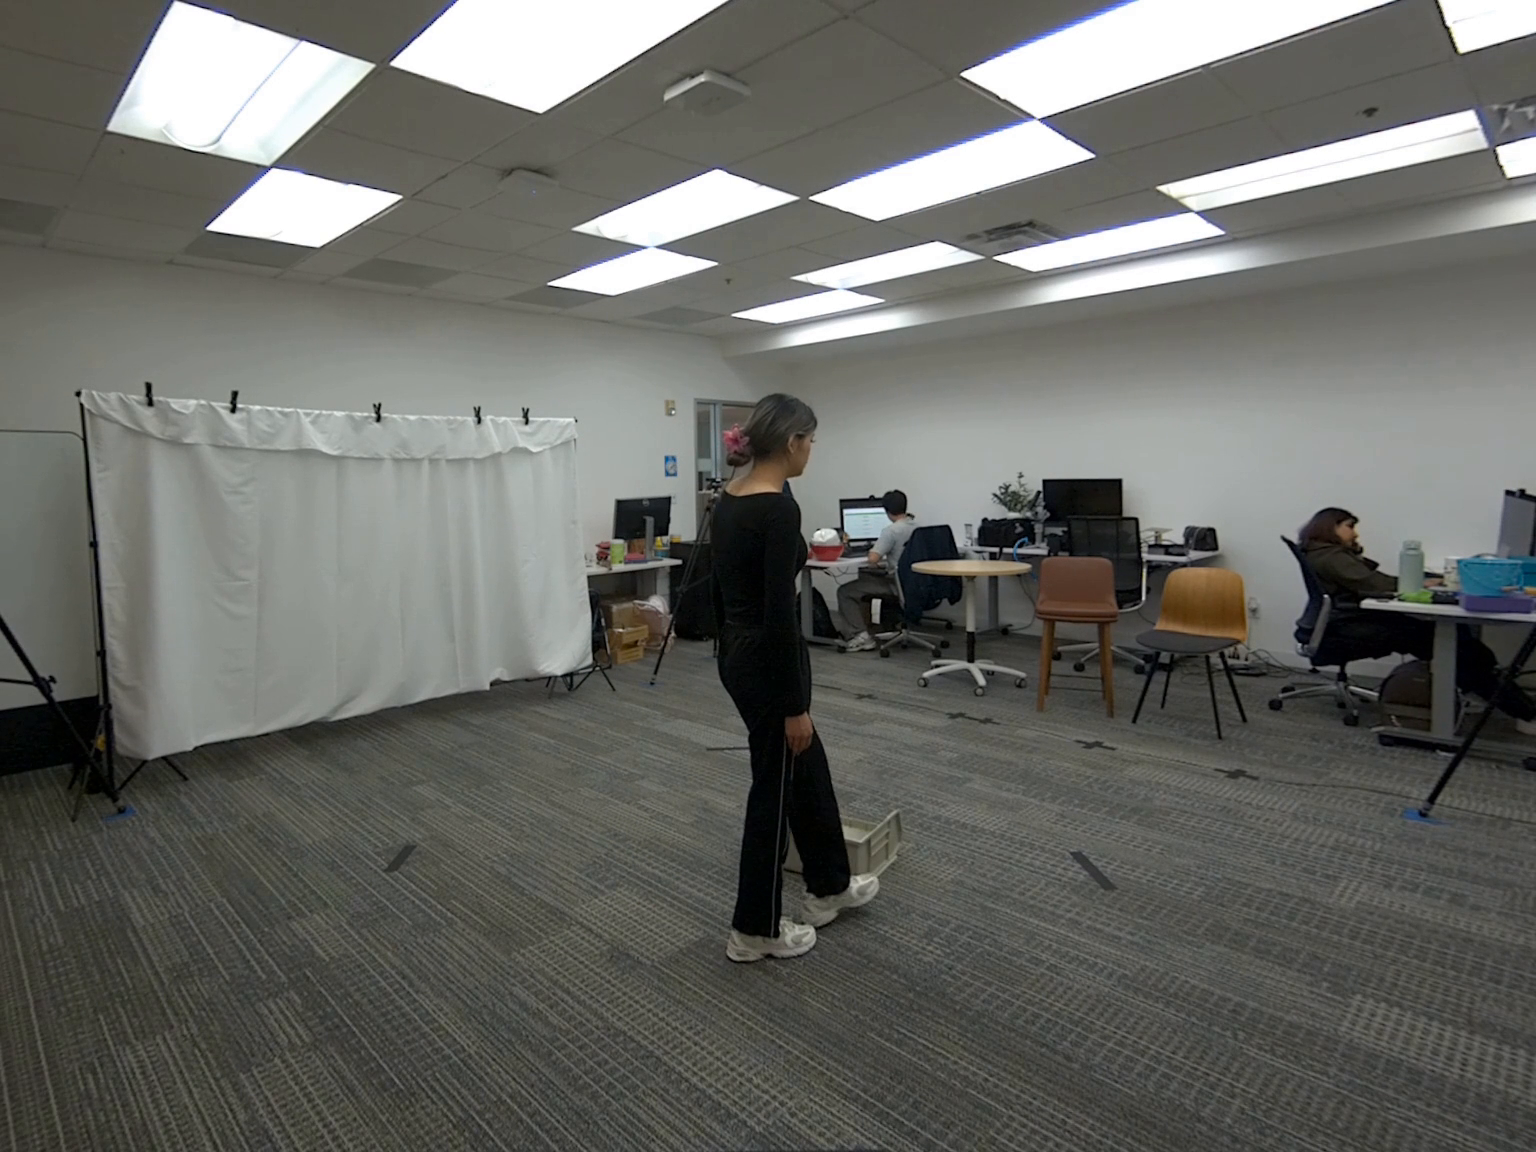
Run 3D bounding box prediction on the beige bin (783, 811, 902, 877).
[{"bbox_3d":[0.227,0.950,3.119,0.434,0.188,0.369,3,8,32],"label":"beige bin"}]
